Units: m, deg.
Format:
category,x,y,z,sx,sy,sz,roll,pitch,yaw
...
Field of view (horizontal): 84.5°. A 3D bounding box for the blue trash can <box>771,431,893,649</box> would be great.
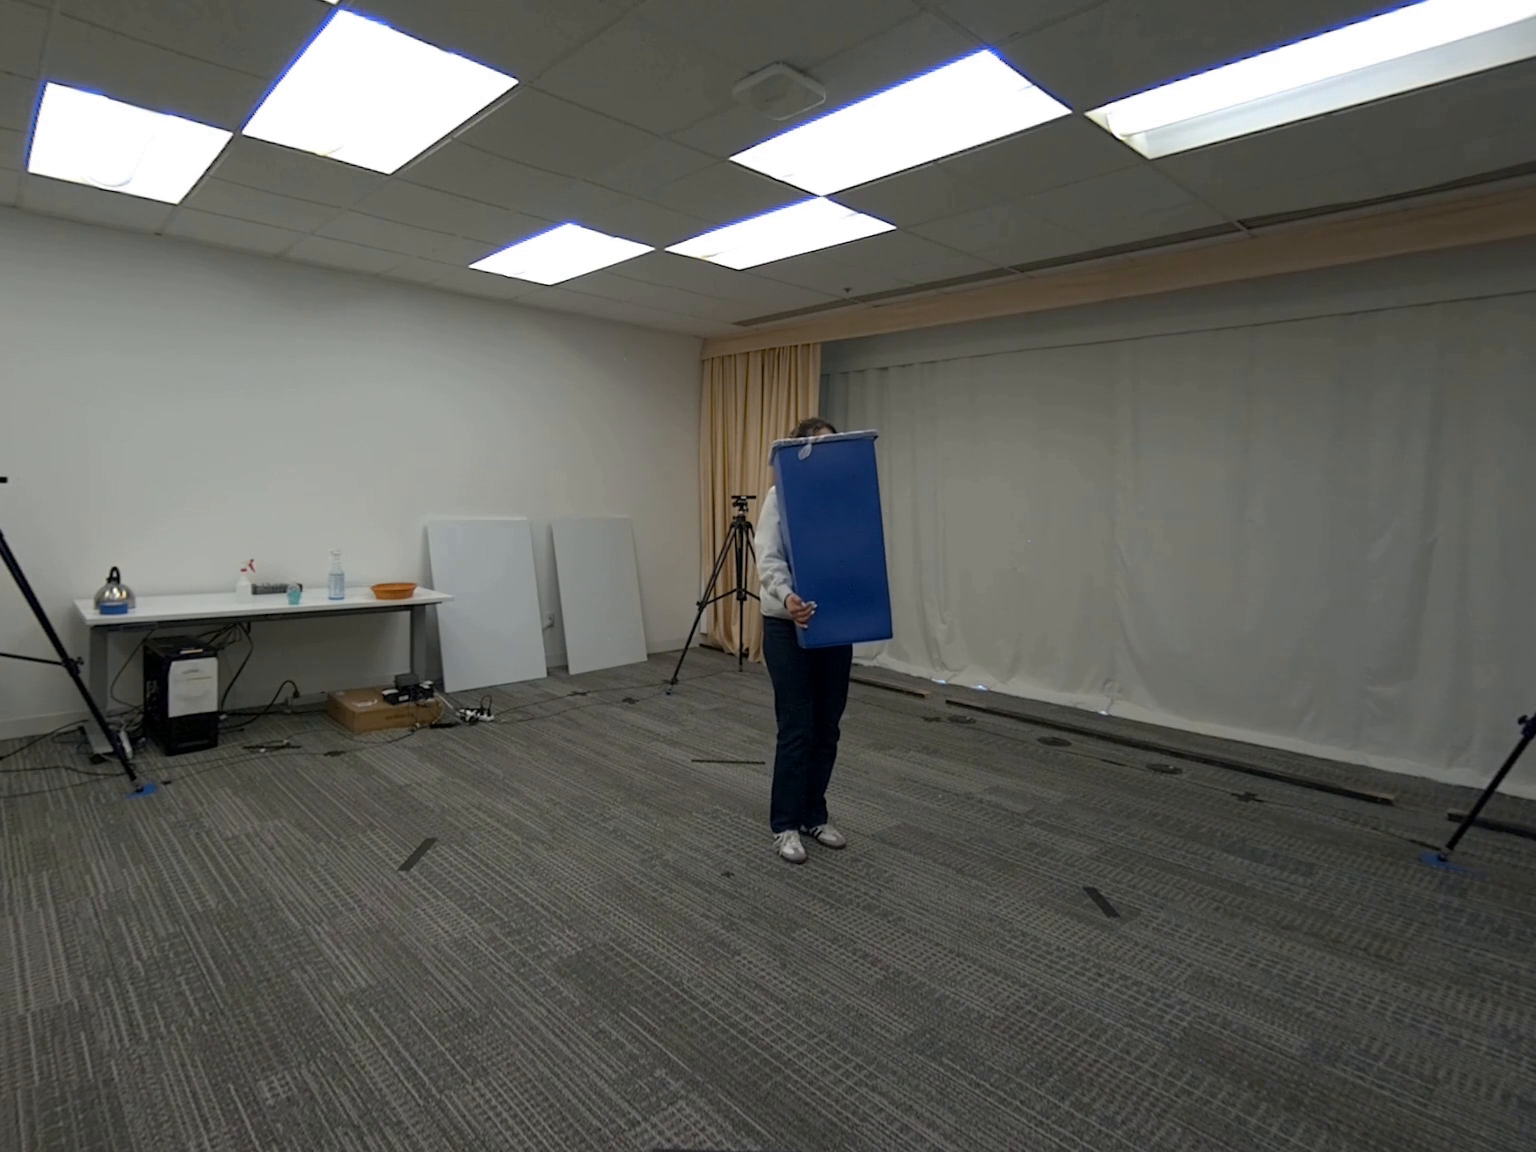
category,x,y,z,sx,sy,sz,roll,pitch,yaw
blue trash can,0.227,-0.124,3.016,0.378,0.716,0.372,-5,-4,0
